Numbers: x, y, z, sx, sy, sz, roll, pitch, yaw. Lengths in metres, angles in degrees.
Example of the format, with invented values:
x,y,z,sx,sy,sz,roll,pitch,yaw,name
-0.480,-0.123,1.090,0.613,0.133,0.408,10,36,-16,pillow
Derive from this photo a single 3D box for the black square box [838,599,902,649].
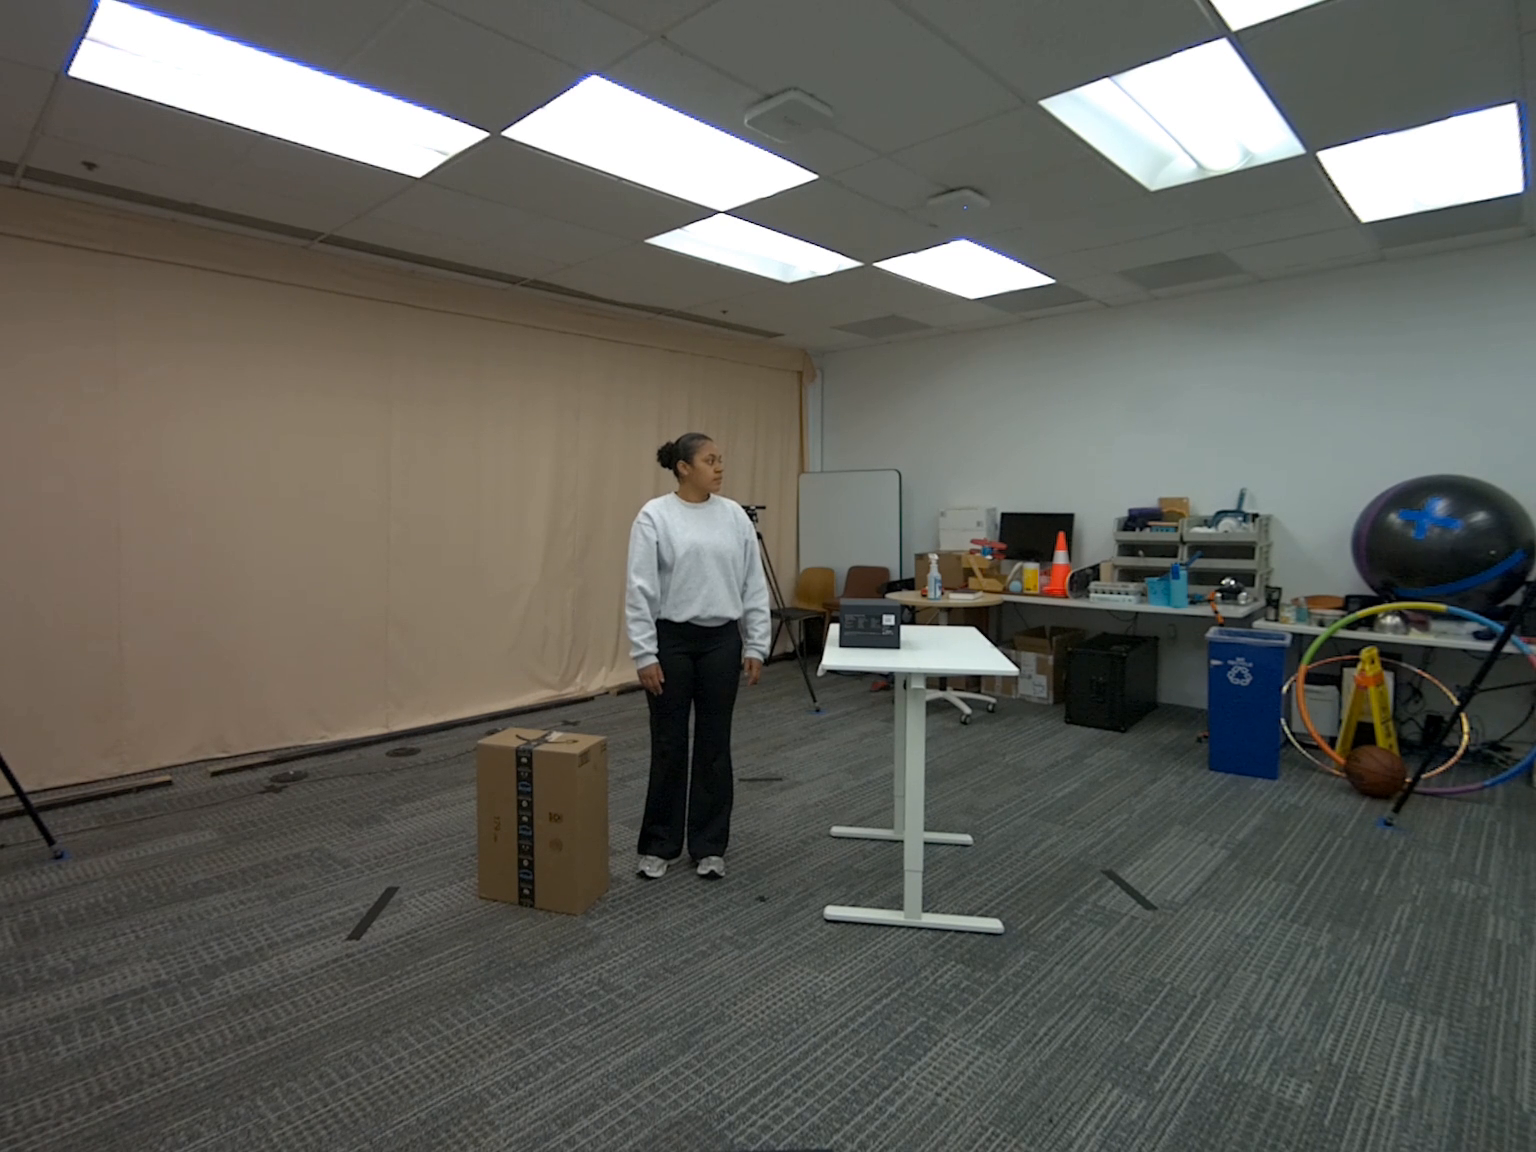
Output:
x,y,z,sx,sy,sz,roll,pitch,yaw,name
0.382,0.169,3.094,0.219,0.156,0.226,2,3,9,black square box
